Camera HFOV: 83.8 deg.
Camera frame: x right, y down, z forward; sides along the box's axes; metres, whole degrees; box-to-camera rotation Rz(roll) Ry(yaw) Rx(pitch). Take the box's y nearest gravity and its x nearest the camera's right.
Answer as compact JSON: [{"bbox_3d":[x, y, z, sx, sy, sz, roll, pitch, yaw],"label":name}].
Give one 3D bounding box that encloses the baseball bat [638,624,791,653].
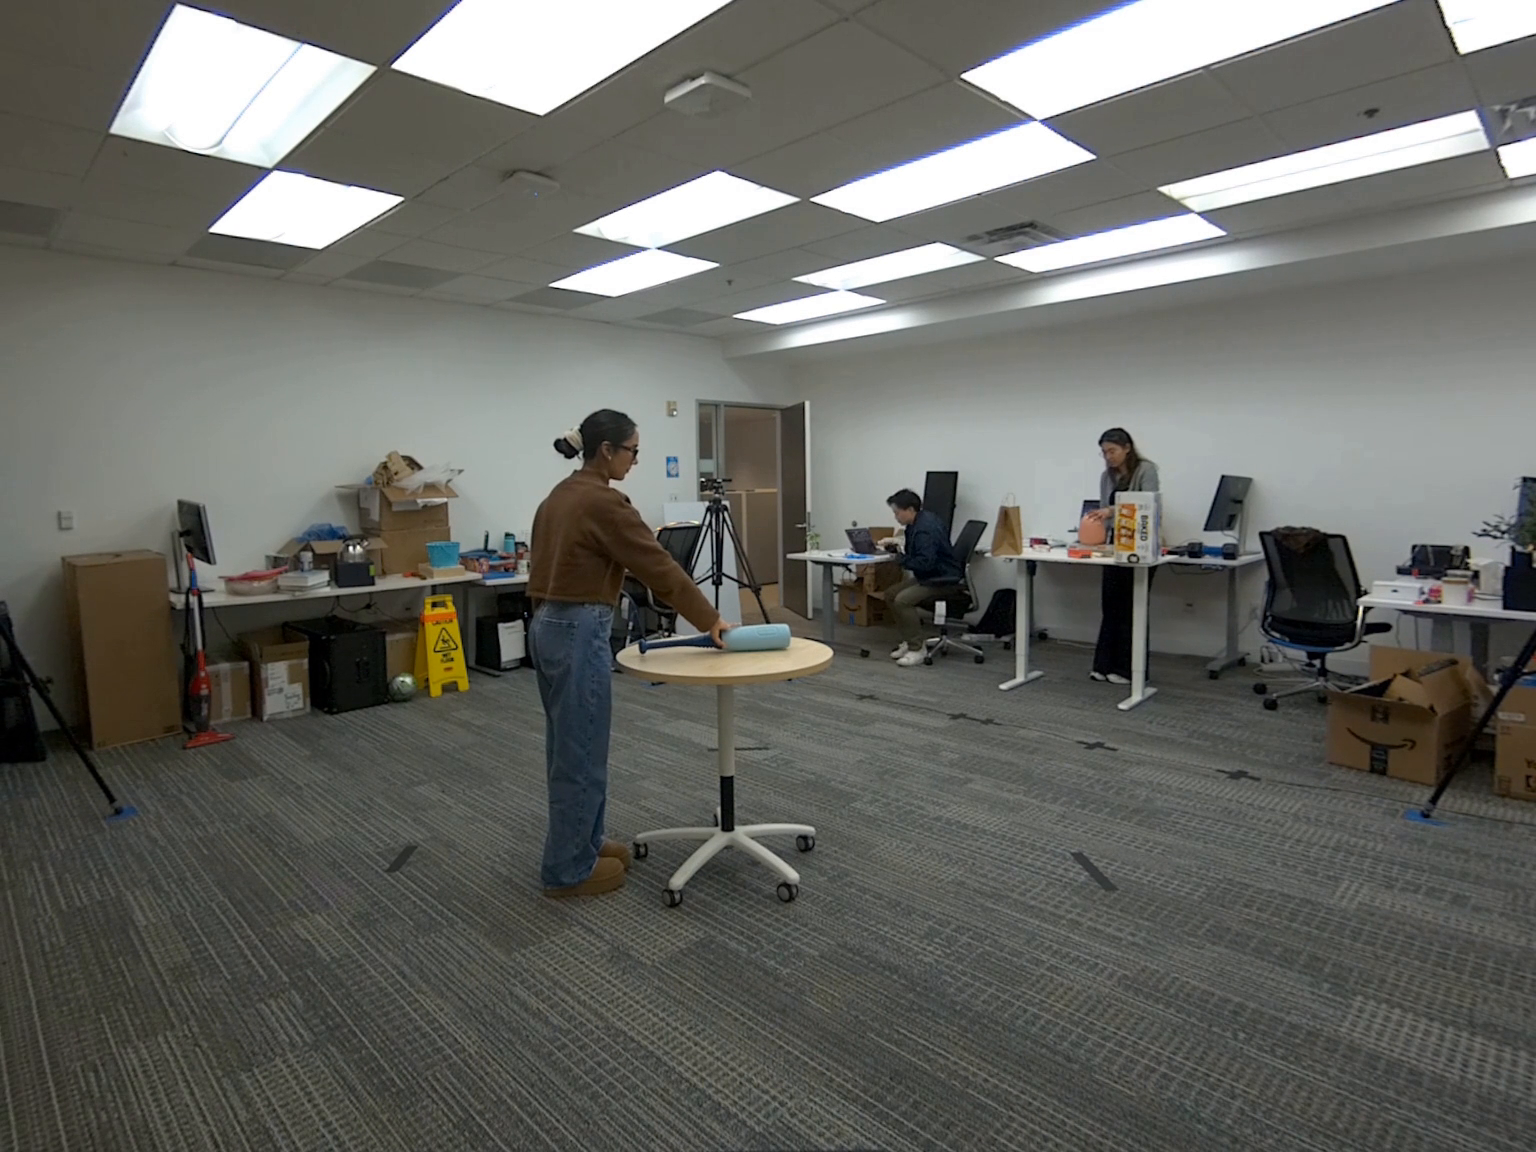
[{"bbox_3d":[-0.194,0.235,3.040,0.540,0.089,0.090,-4,5,-5],"label":"baseball bat"}]
